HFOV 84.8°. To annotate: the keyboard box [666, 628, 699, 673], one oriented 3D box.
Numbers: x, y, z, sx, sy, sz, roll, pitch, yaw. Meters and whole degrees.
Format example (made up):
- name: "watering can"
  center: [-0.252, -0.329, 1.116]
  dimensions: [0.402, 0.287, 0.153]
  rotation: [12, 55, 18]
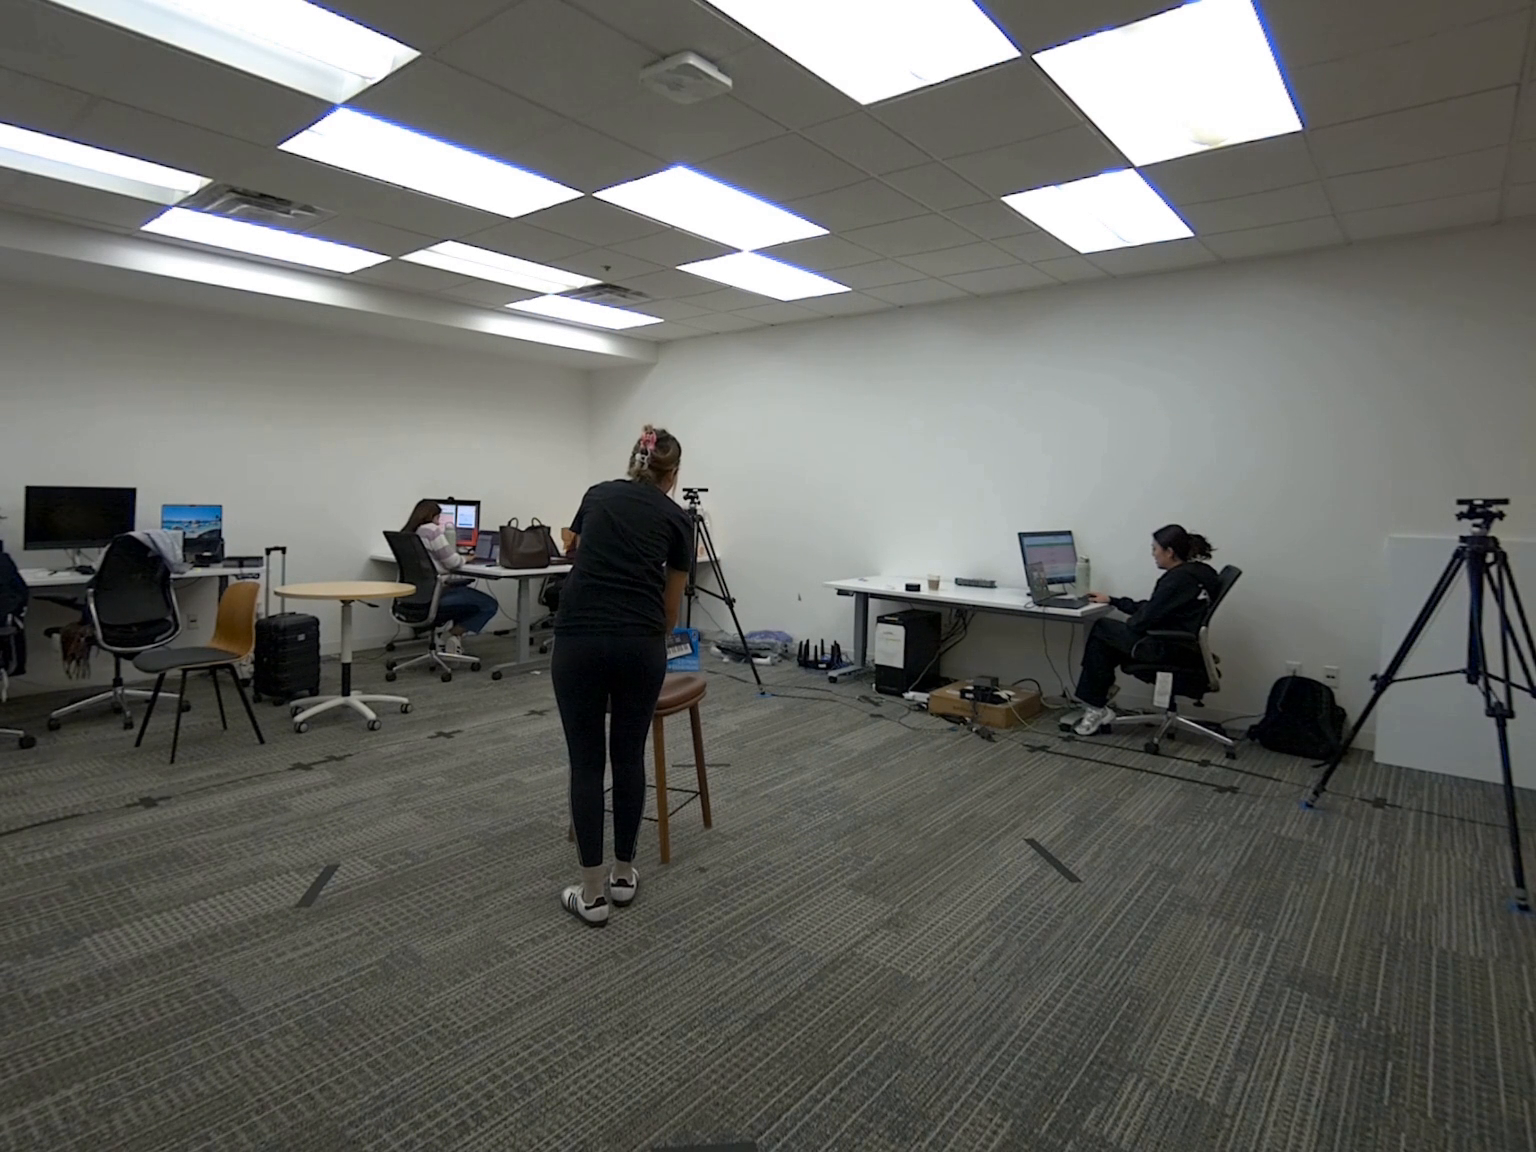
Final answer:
- name: "keyboard box"
  center: [-0.441, 0.292, 3.361]
  dimensions: [0.060, 0.178, 0.421]
  rotation: [-12, -12, 33]
